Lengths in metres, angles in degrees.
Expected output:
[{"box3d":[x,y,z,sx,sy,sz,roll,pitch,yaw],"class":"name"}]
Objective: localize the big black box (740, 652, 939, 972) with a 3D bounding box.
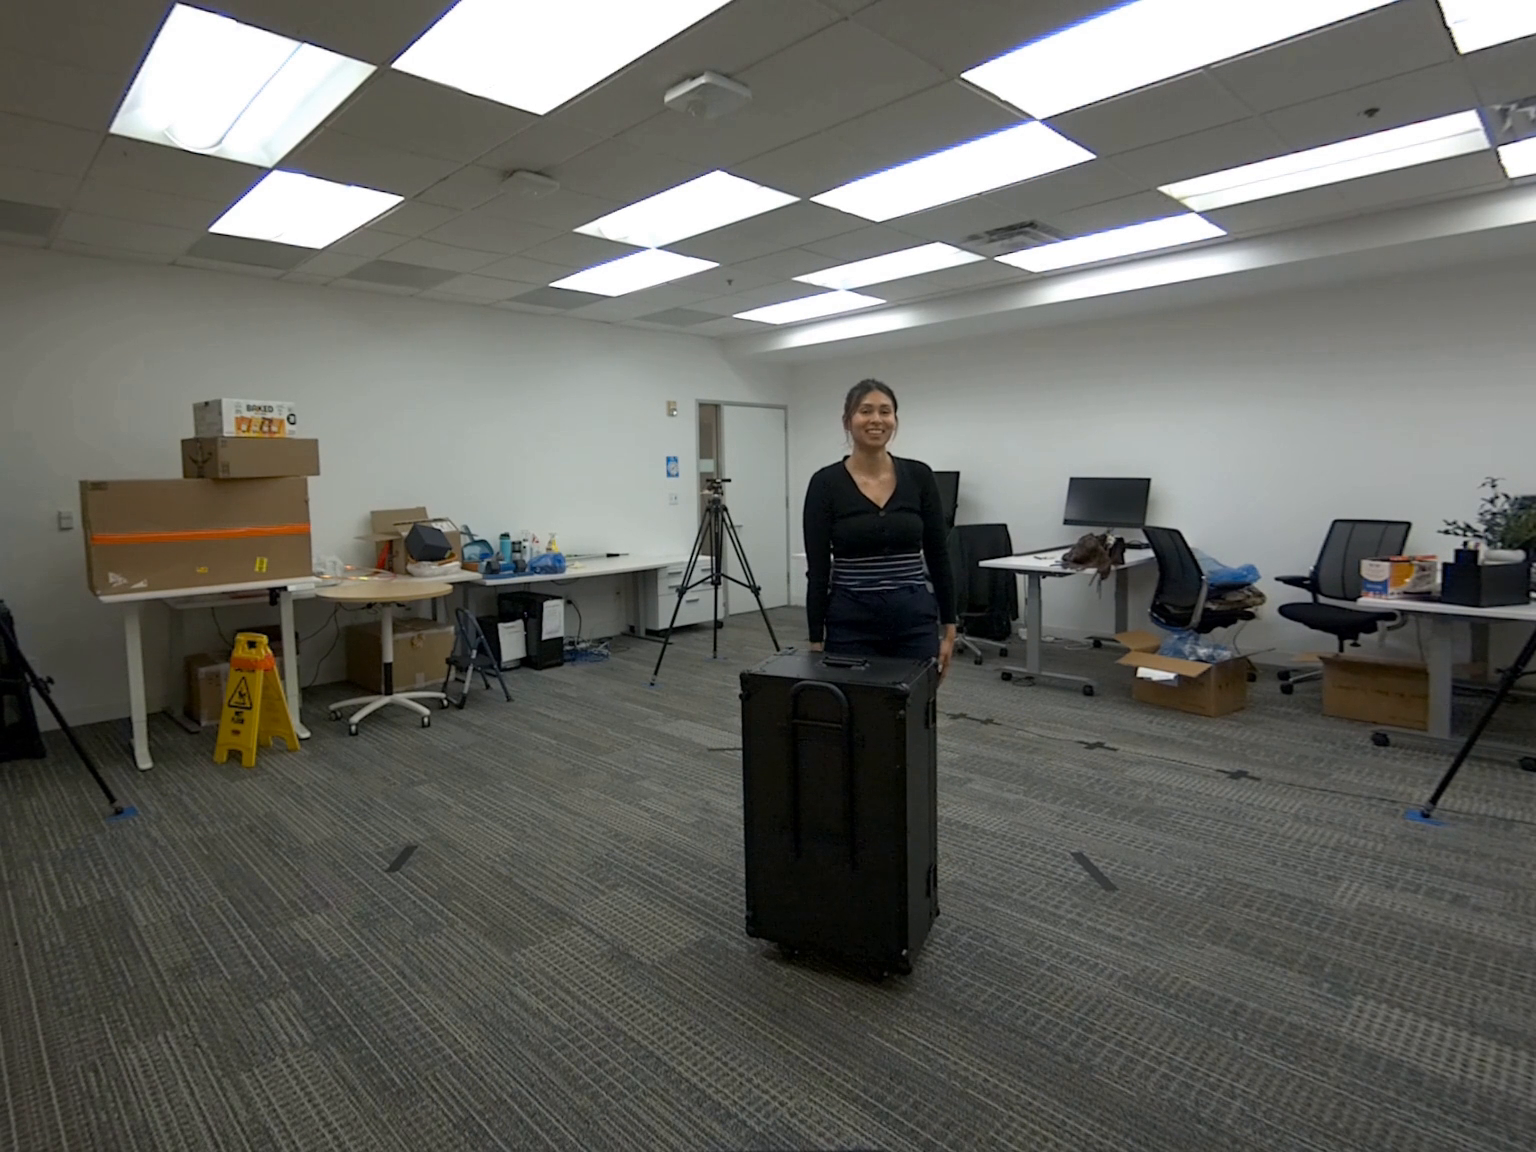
[{"box3d":[0.217,0.686,2.489,0.534,0.857,0.389,1,6,26],"class":"big black box"}]
